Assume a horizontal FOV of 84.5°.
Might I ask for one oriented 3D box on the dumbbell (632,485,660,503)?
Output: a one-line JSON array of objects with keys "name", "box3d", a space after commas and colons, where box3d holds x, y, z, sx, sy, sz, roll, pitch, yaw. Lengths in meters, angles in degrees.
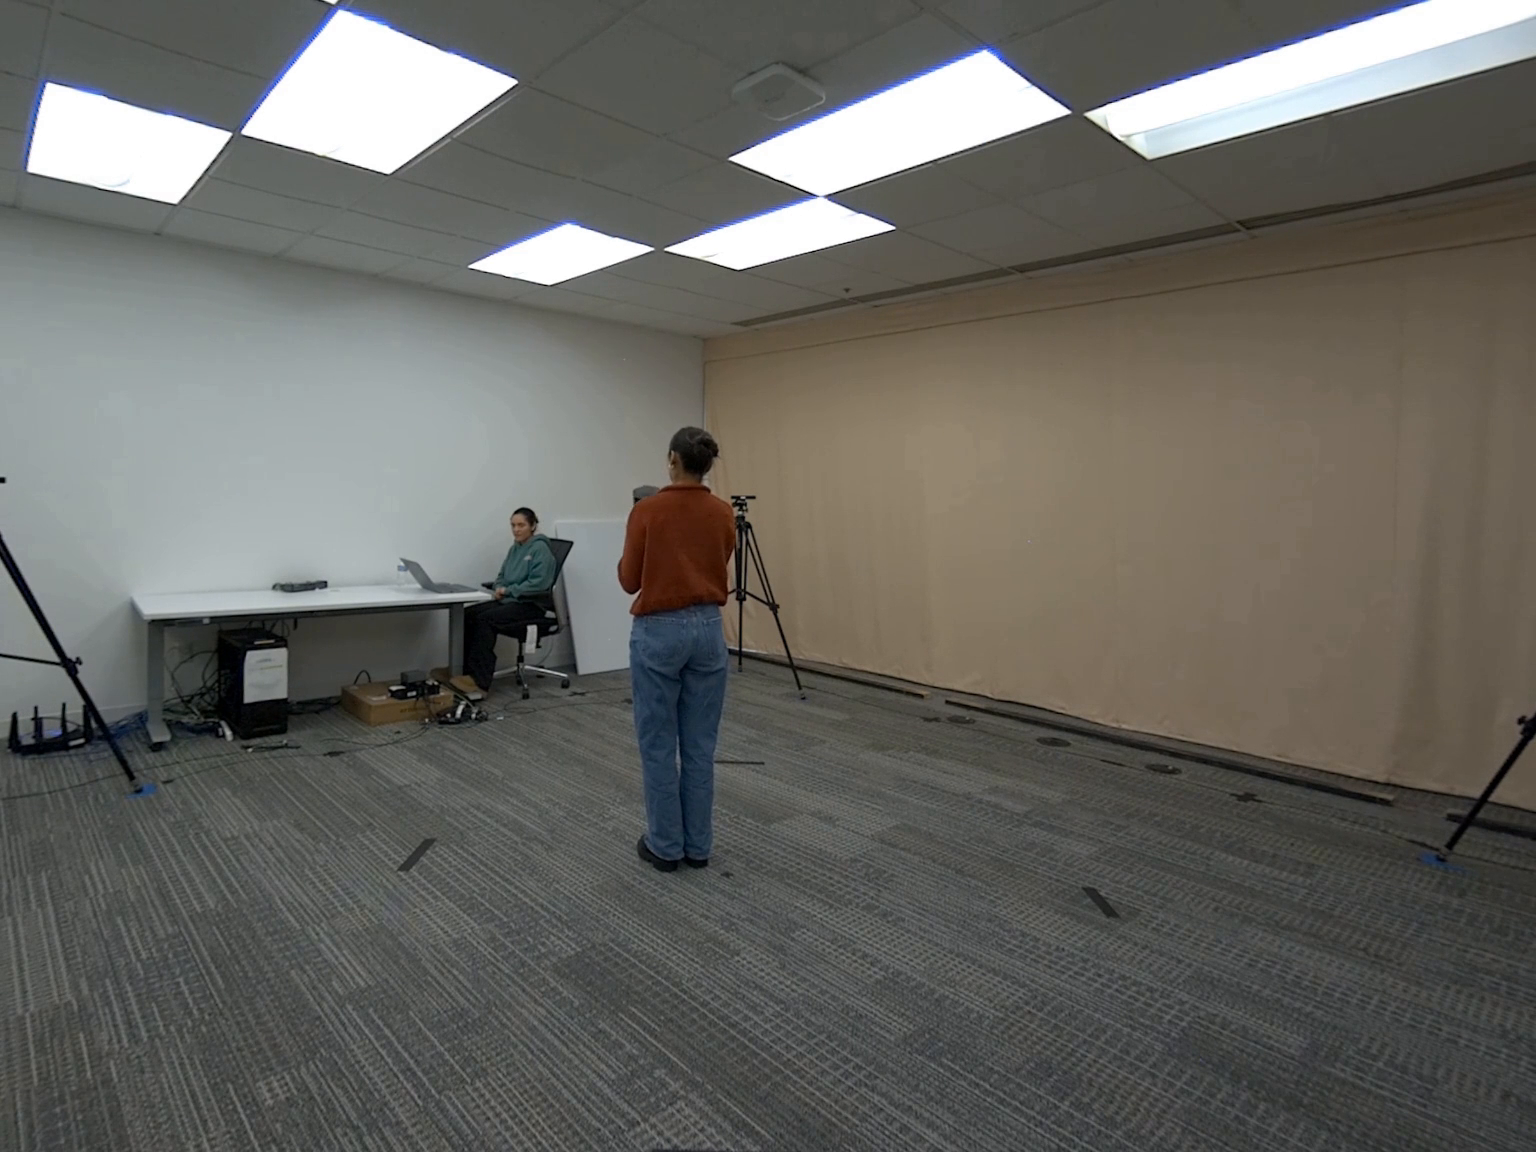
[{"name": "dumbbell", "box3d": [-0.468, -0.204, 3.314, 0.108, 0.288, 0.126, -1, 32, -11]}]
